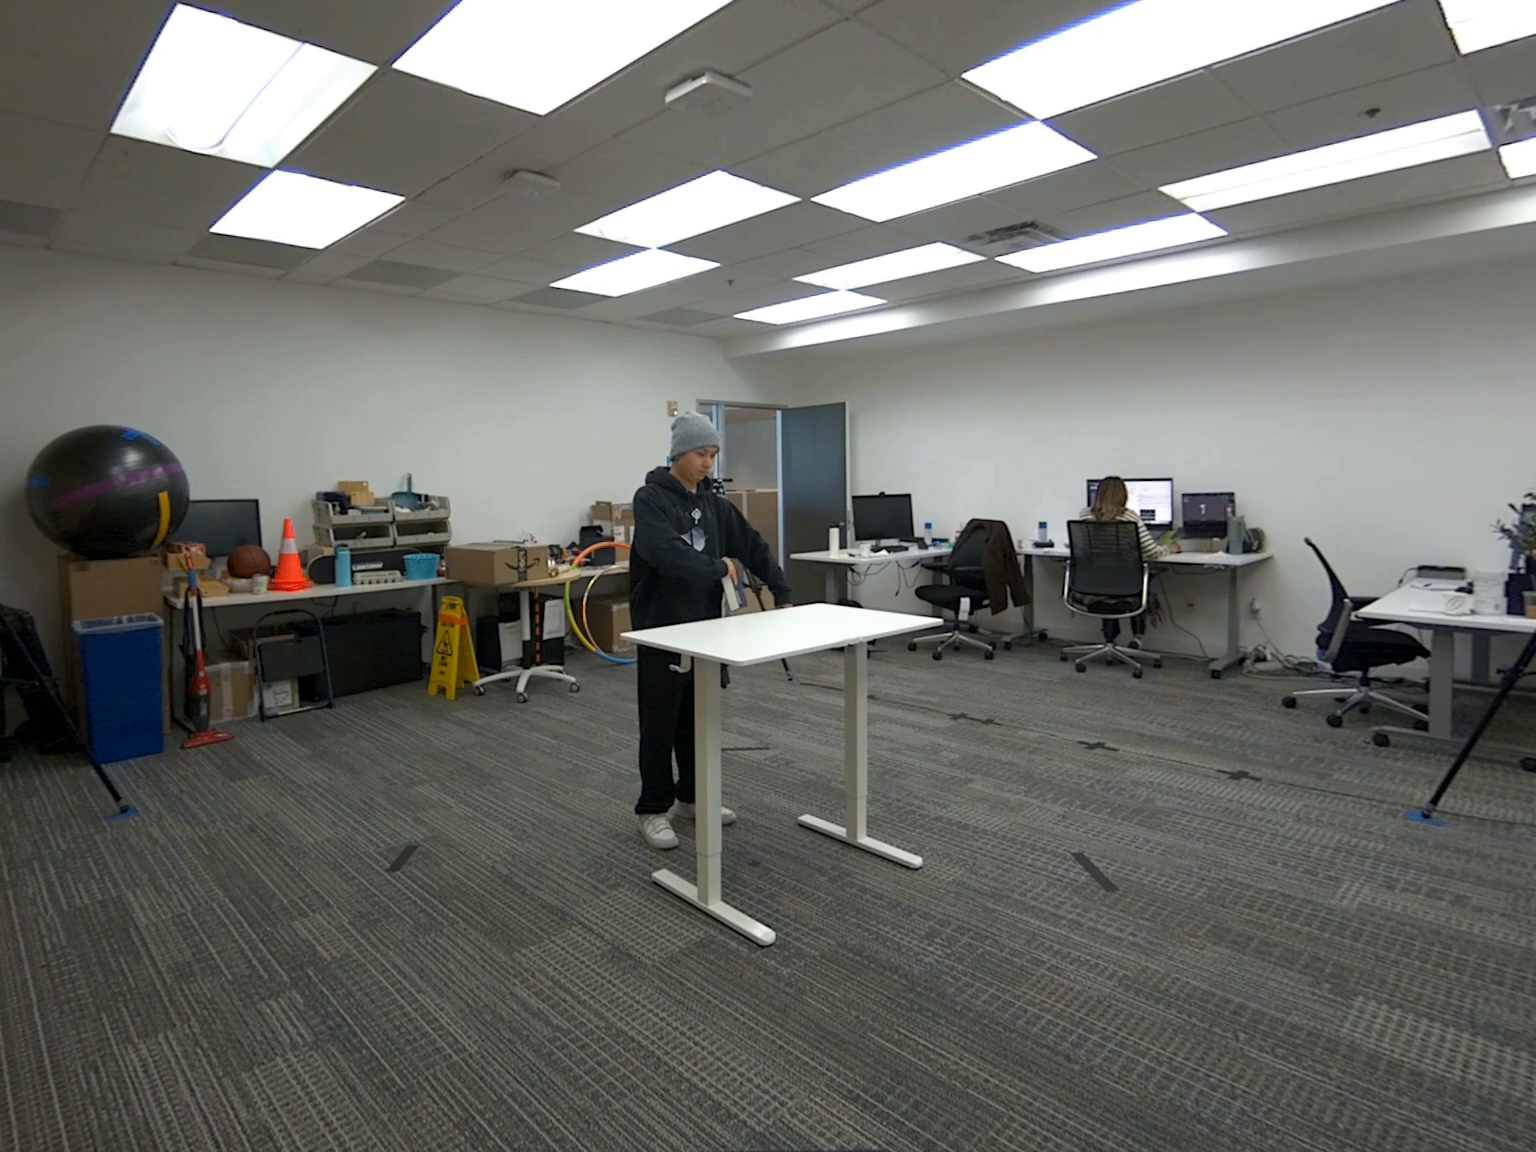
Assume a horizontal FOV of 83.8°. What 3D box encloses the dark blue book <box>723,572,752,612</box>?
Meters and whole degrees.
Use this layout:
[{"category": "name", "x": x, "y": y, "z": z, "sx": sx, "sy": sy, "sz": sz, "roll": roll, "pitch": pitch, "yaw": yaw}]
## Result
[{"category": "dark blue book", "x": -0.141, "y": 0.048, "z": 3.414, "sx": 0.045, "sy": 0.164, "sz": 0.242, "roll": -22, "pitch": -4, "yaw": 11}]
